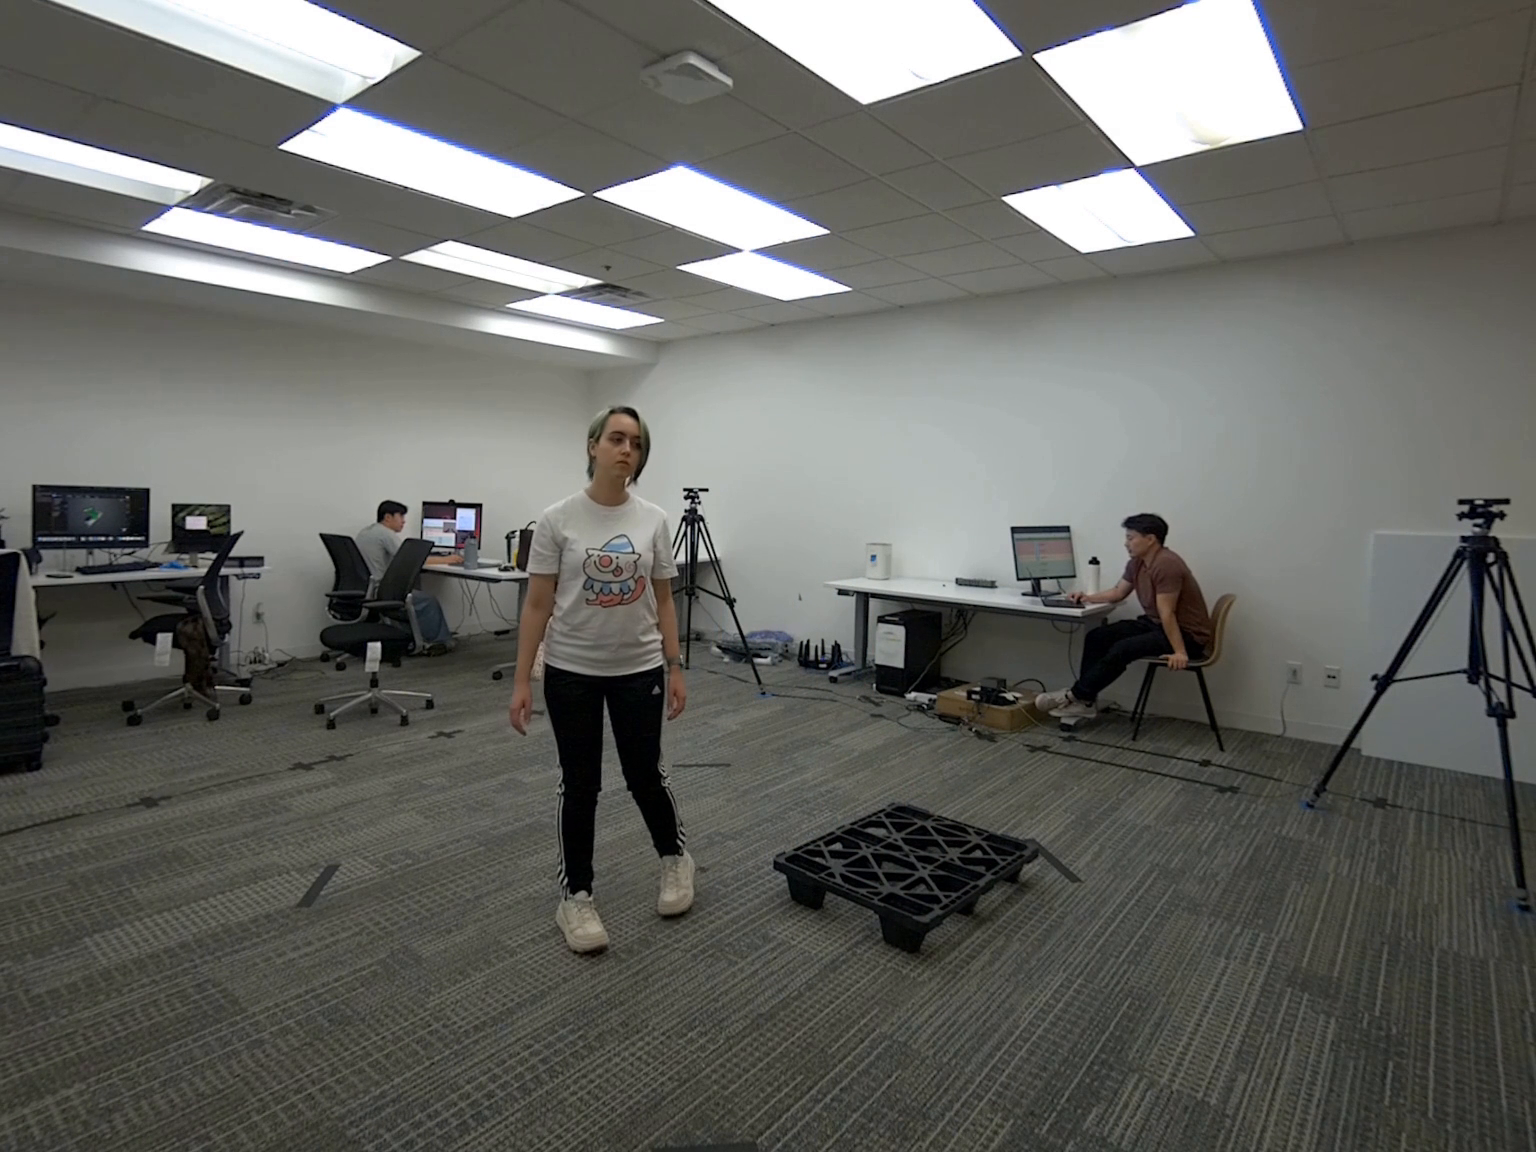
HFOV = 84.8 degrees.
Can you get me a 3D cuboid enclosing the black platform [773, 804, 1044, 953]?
[{"bbox_3d":[0.481,1.034,2.985,0.626,0.143,0.781,6,7,42],"label":"black platform"}]
